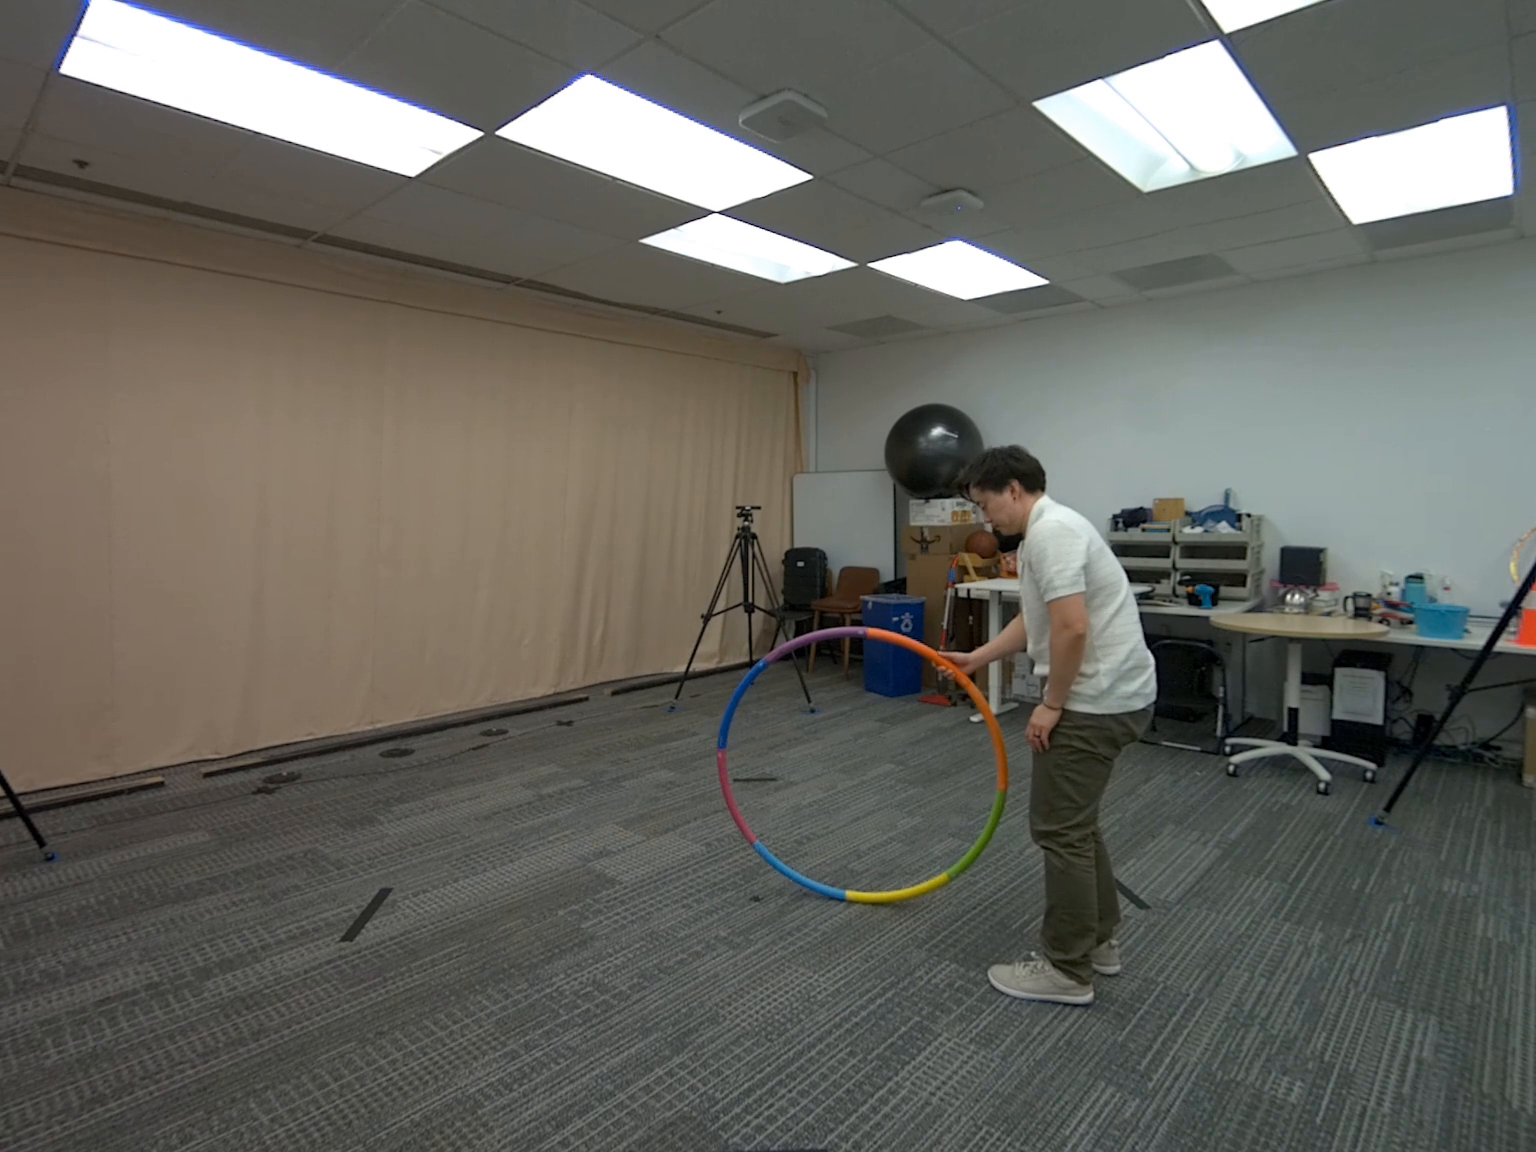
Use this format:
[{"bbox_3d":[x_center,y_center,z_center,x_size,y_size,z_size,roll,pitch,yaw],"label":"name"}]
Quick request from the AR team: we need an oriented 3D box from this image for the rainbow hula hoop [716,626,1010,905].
[{"bbox_3d":[0.313,0.669,2.907,0.993,0.974,0.035,1,7,14],"label":"rainbow hula hoop"}]
